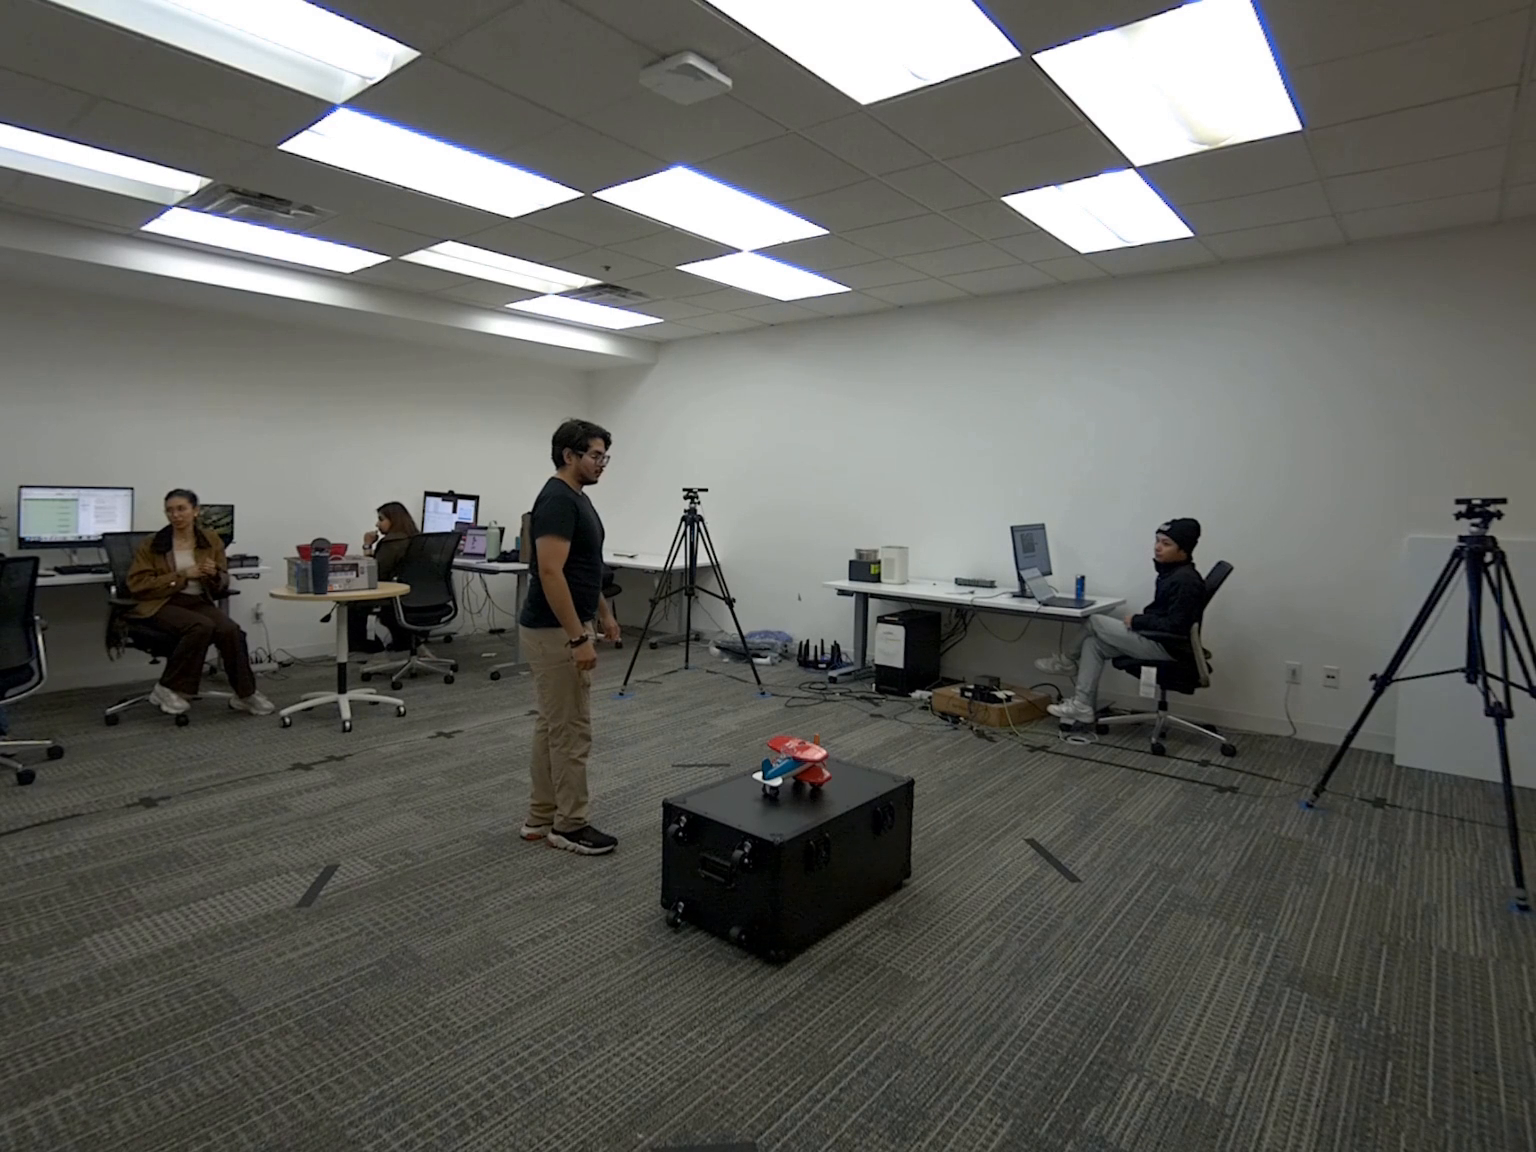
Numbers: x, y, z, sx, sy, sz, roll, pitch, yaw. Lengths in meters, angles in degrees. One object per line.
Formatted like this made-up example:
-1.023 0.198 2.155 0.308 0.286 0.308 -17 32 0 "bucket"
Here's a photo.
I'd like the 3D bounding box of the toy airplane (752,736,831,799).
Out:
0.083 0.646 2.874 0.257 0.156 0.254 3 4 20 "toy airplane"
